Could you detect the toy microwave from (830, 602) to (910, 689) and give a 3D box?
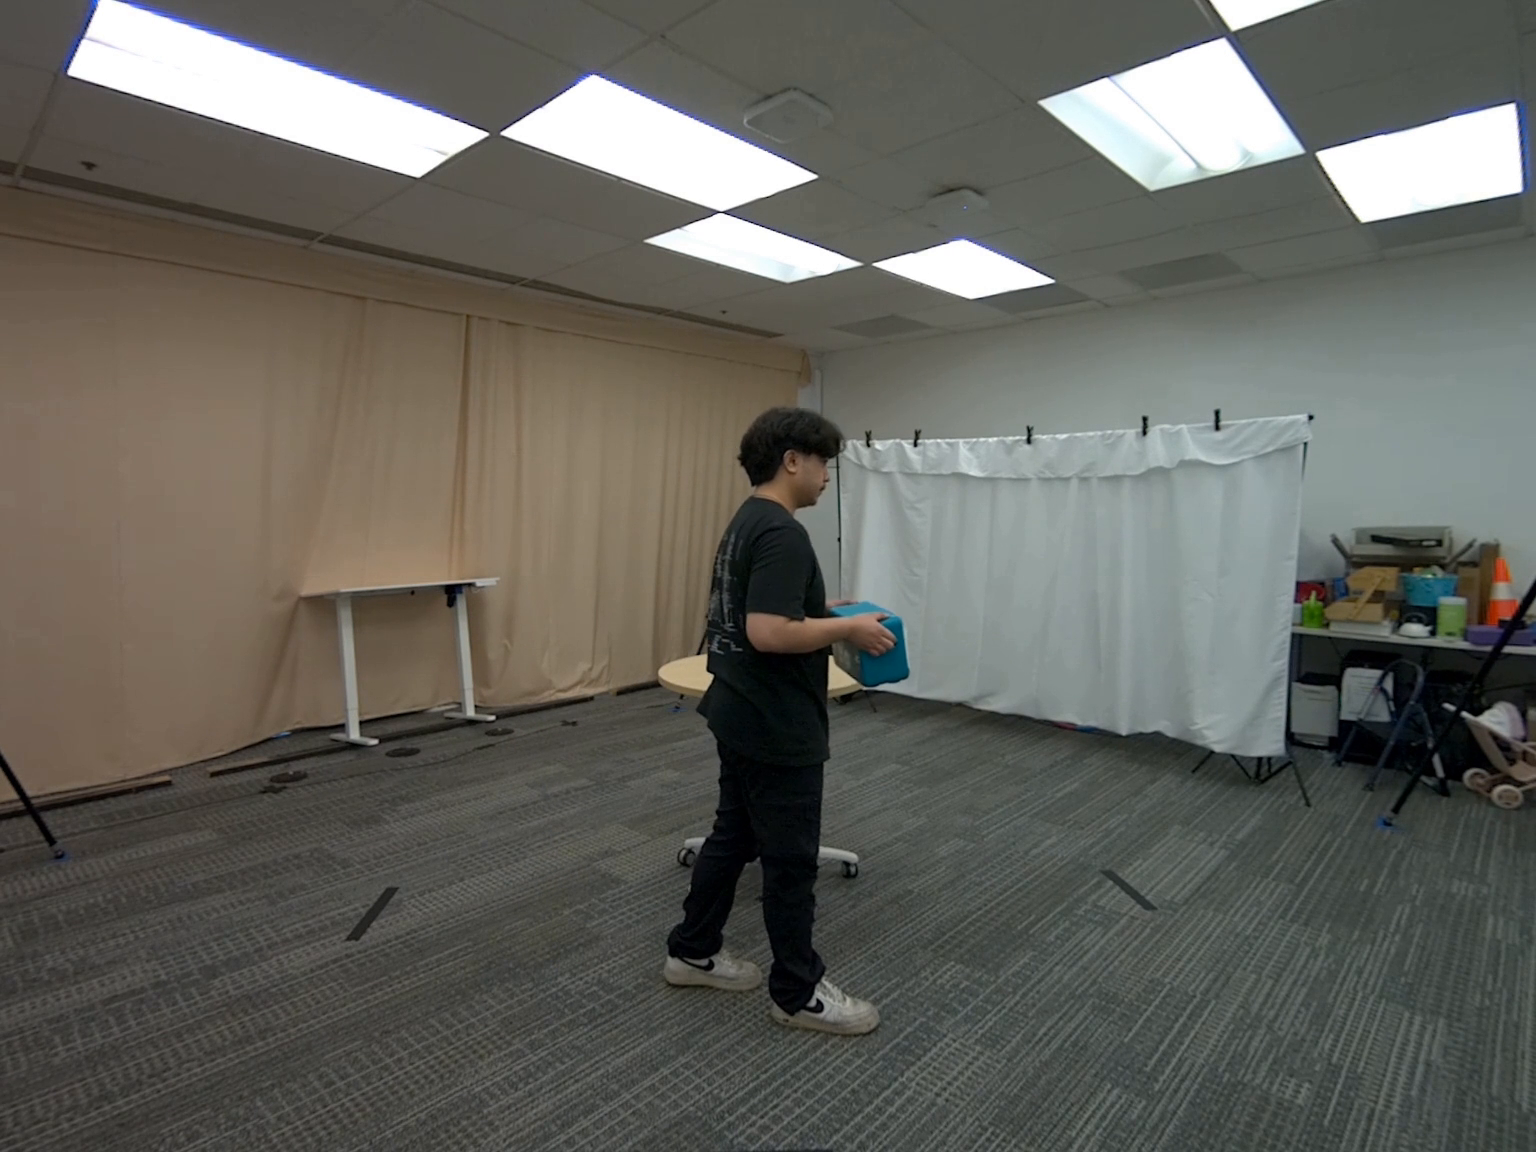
[{"bbox_3d":[0.282,0.182,2.343,0.151,0.183,0.291,-8,8,-11],"label":"toy microwave"}]
